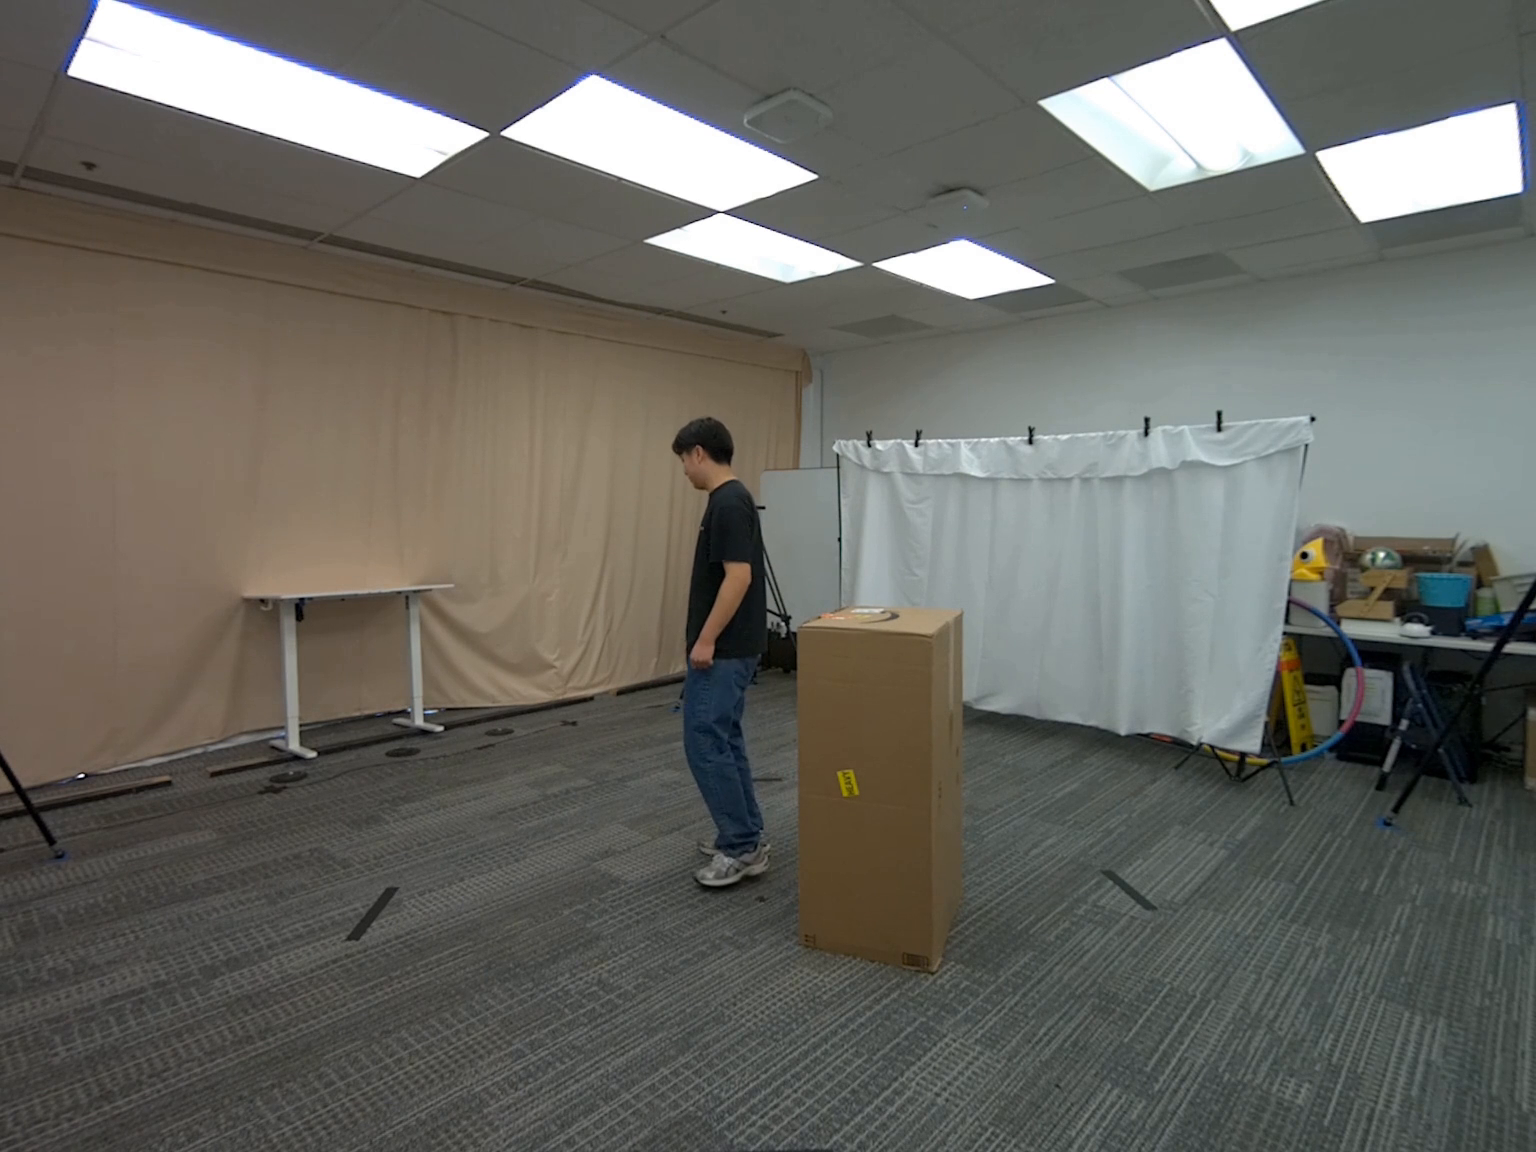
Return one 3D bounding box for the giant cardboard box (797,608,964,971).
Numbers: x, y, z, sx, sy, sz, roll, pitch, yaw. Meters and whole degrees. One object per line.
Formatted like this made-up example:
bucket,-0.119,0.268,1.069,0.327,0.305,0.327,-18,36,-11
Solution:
giant cardboard box,0.395,0.644,2.814,0.458,1.025,0.570,0,3,25
